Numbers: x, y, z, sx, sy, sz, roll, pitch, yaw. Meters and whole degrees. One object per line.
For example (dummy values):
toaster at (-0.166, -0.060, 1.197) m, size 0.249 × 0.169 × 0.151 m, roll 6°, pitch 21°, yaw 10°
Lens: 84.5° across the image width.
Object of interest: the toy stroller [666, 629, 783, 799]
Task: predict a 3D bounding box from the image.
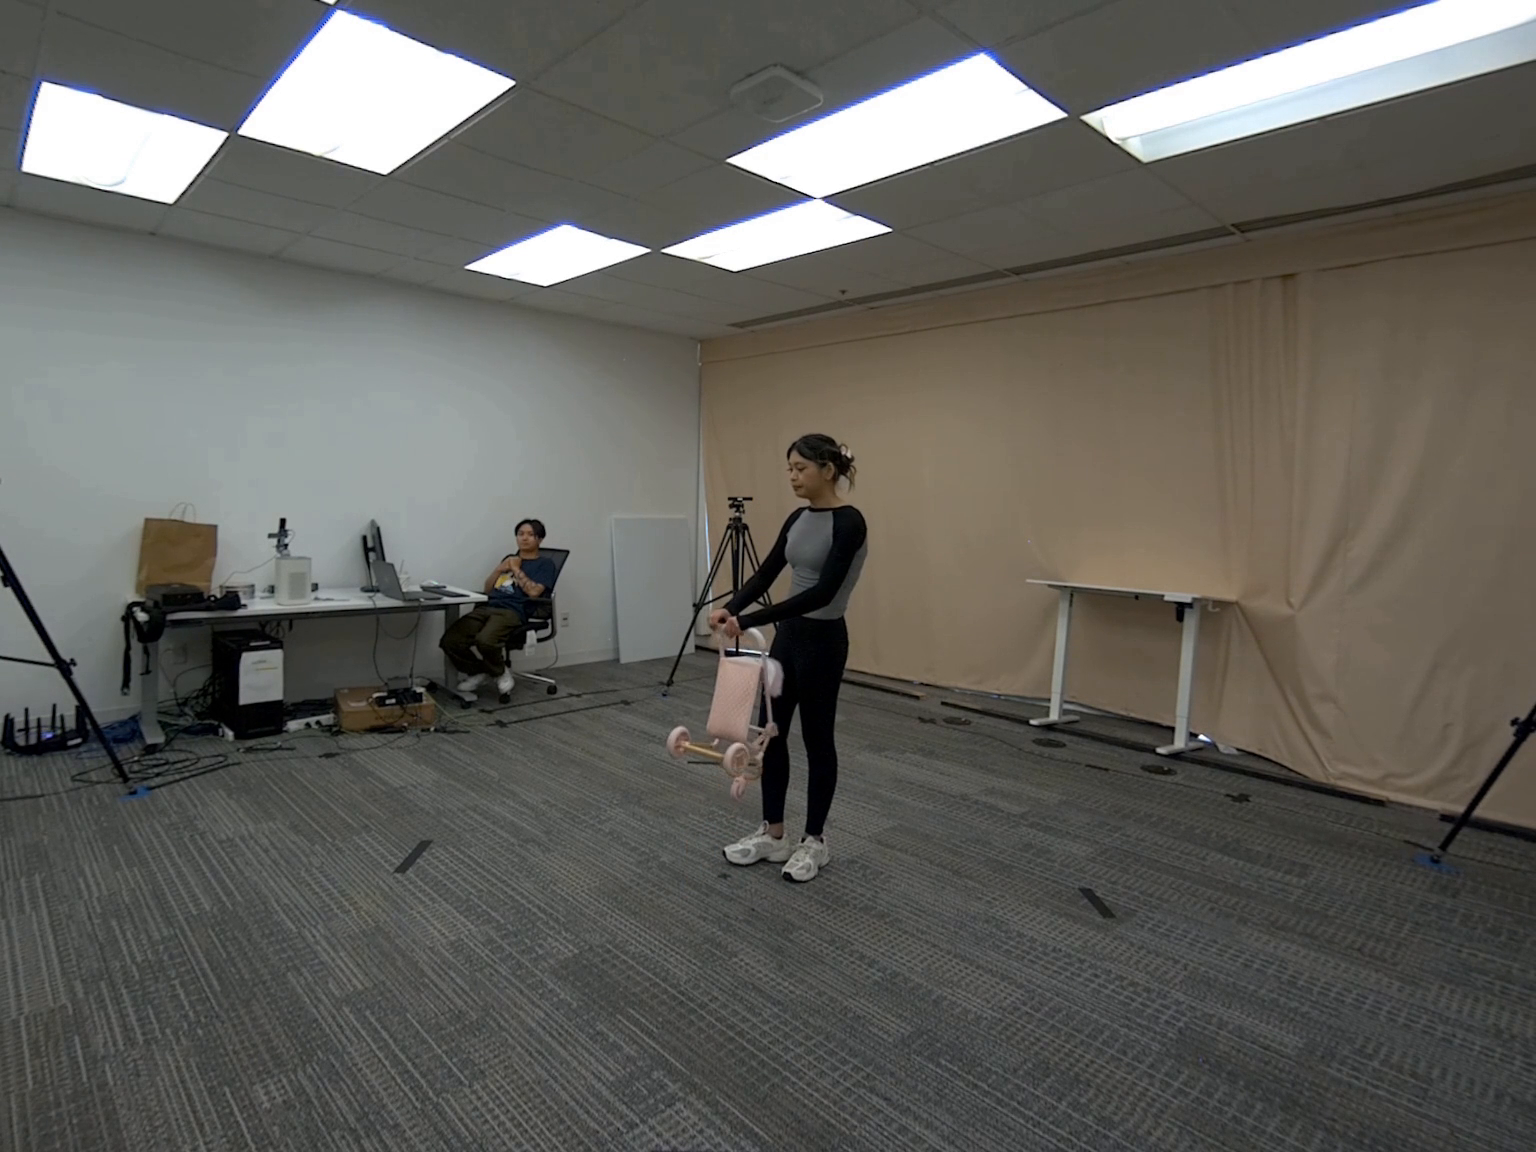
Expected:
toy stroller at (-0.105, 0.489, 2.901) m, size 0.288 × 0.539 × 0.330 m, roll 4°, pitch -23°, yaw 40°
